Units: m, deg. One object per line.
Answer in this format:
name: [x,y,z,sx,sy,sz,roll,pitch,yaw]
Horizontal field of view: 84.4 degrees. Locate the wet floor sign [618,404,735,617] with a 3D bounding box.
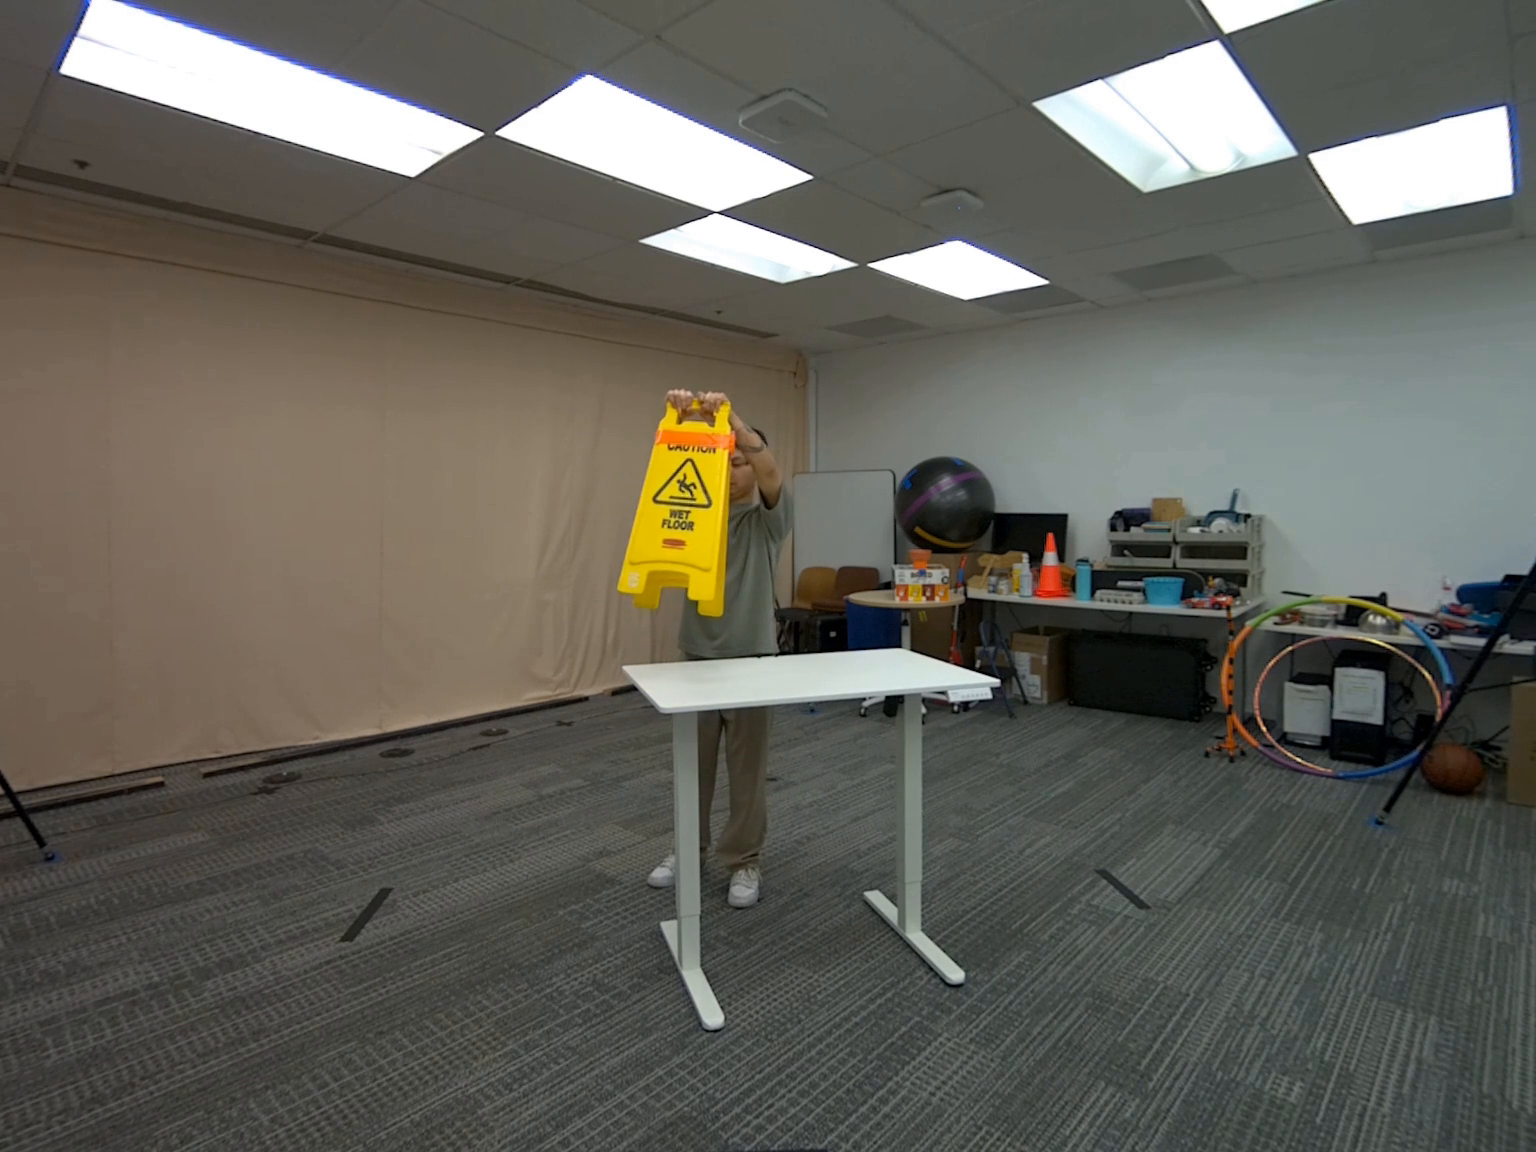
wet floor sign: [-0.243,-0.228,2.546,0.284,0.650,0.286,2,-12,5]
